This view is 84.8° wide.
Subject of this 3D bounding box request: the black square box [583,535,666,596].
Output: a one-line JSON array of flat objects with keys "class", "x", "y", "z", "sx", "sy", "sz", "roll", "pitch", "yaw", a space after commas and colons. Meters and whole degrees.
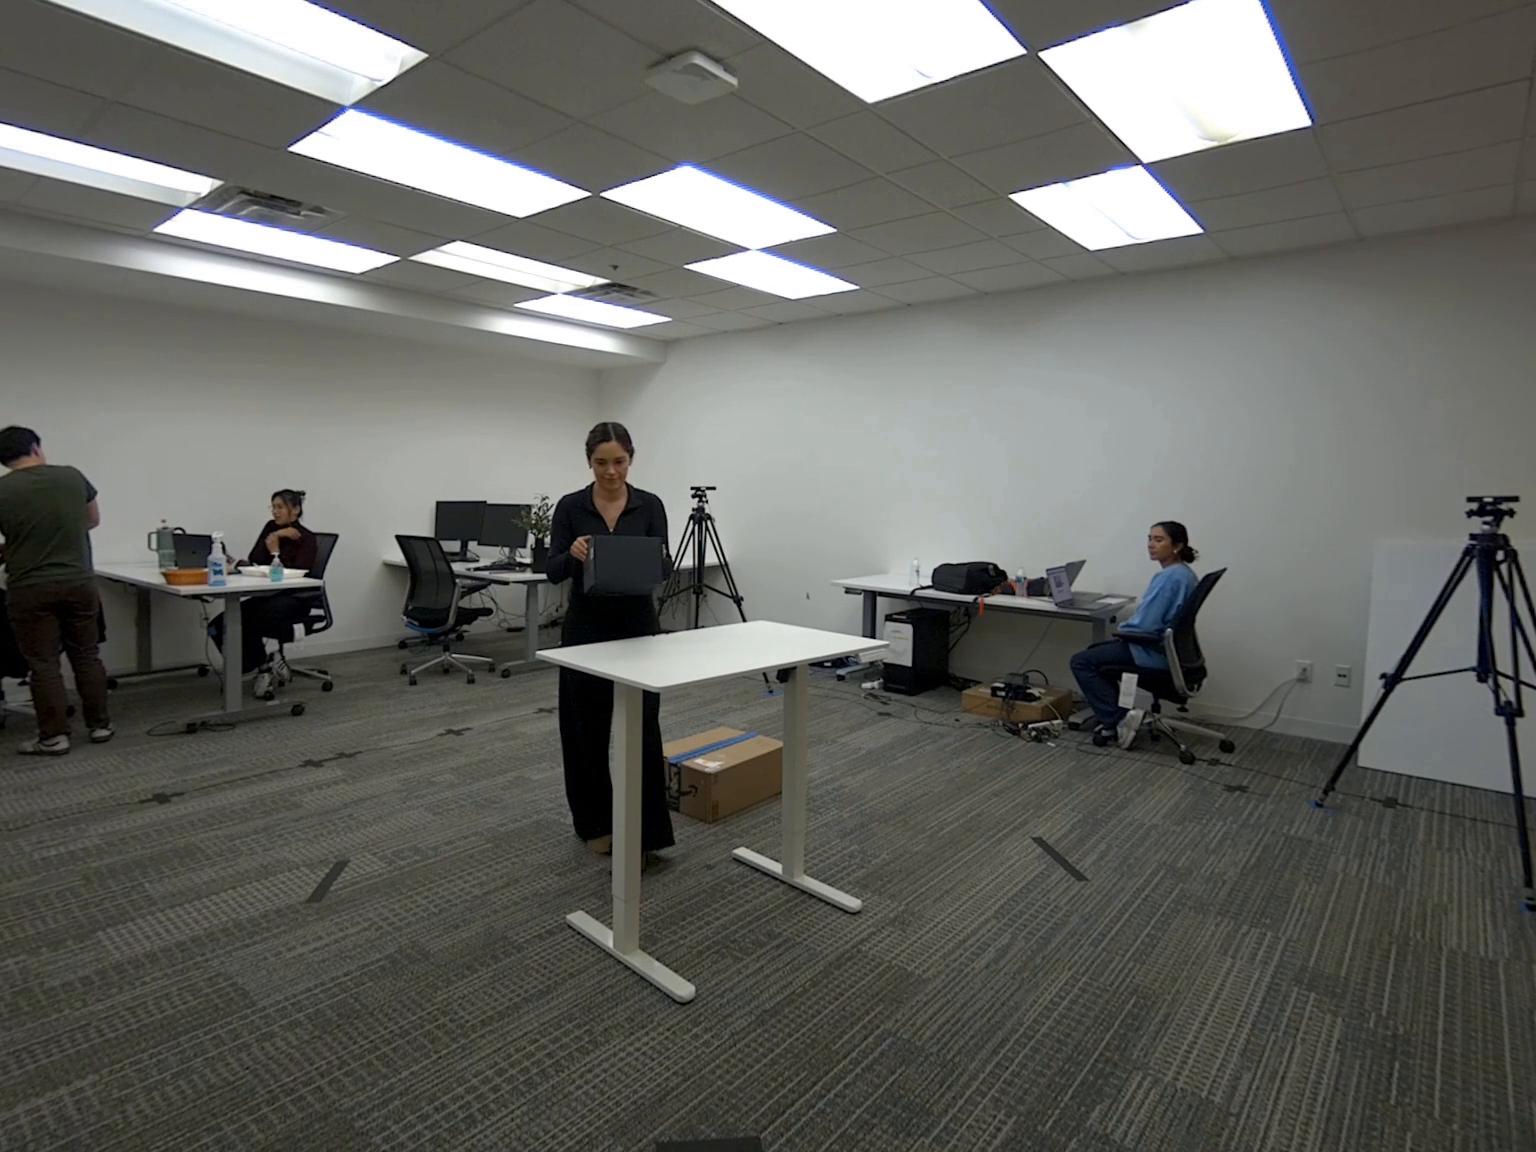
[{"class": "black square box", "x": -0.509, "y": -0.040, "z": 2.851, "sx": 0.224, "sy": 0.157, "sz": 0.219, "roll": 1, "pitch": -9, "yaw": -18}]
